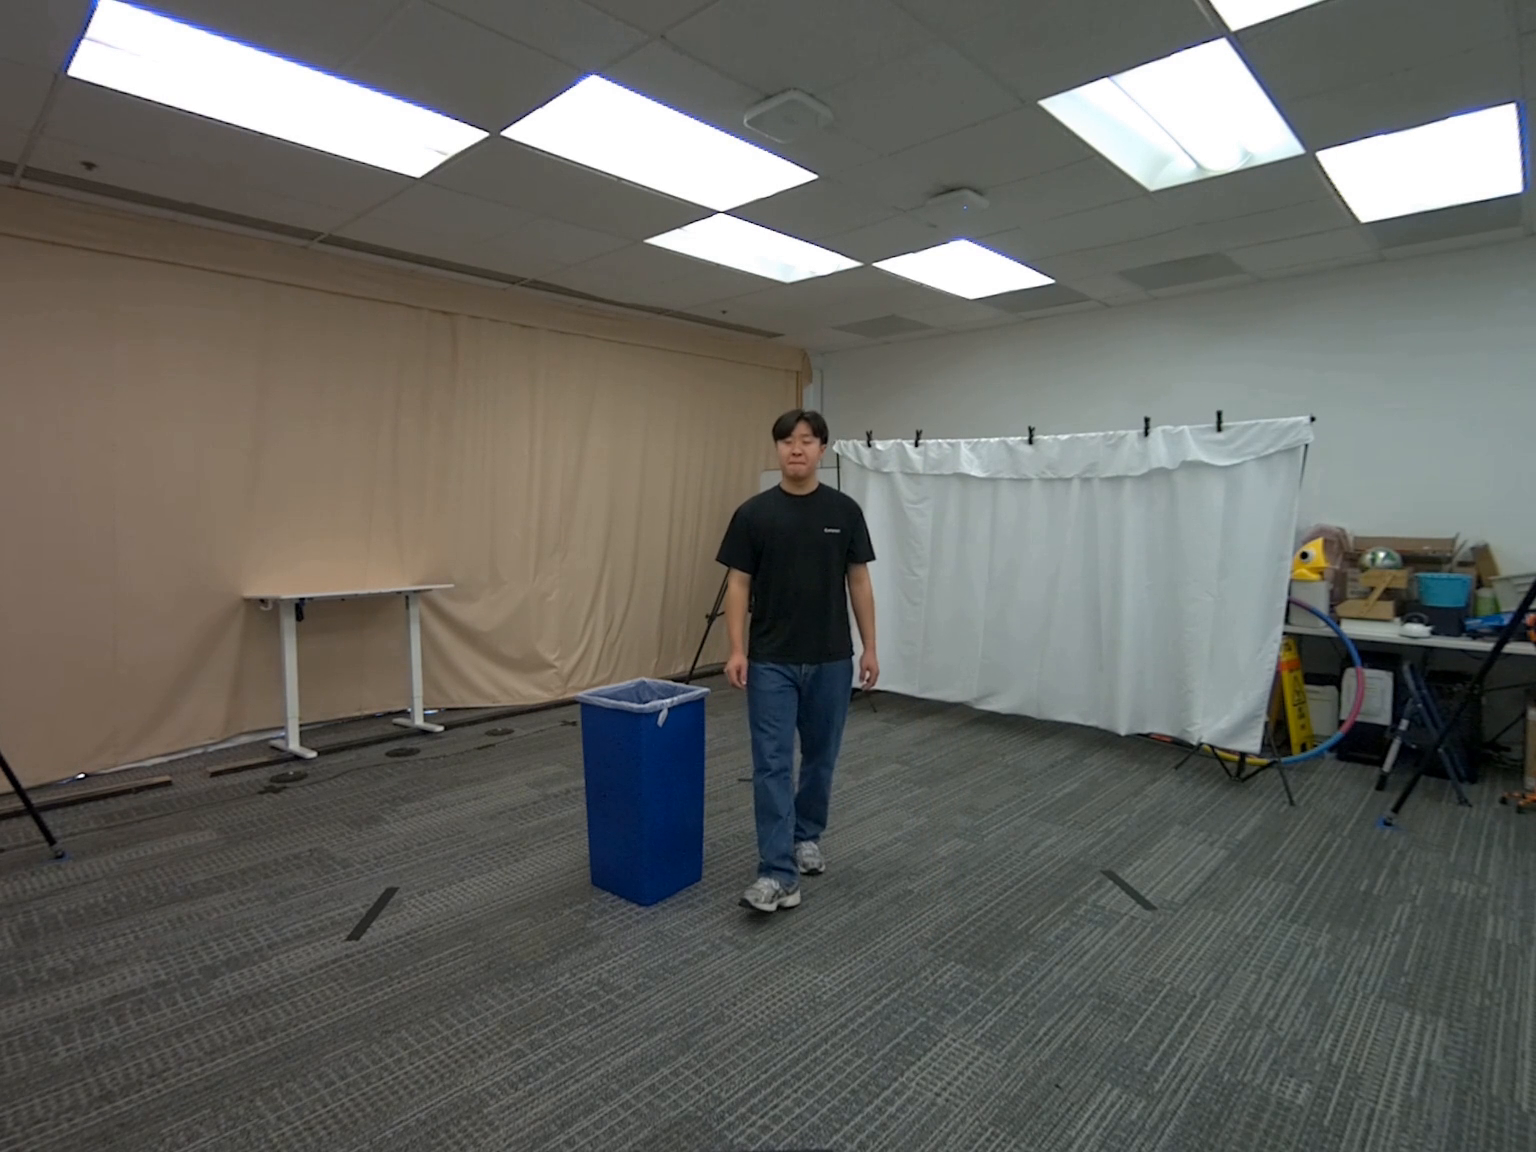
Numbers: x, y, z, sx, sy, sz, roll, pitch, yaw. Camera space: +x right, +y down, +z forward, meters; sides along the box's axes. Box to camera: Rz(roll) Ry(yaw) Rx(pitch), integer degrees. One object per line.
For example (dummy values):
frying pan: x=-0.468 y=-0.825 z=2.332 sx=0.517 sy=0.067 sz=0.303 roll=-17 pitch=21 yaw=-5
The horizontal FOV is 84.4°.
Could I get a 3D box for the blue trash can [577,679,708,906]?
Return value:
blue trash can: x=-0.462 y=0.781 z=3.118 sx=0.386 sy=0.712 sz=0.367 roll=2 pitch=4 yaw=39
